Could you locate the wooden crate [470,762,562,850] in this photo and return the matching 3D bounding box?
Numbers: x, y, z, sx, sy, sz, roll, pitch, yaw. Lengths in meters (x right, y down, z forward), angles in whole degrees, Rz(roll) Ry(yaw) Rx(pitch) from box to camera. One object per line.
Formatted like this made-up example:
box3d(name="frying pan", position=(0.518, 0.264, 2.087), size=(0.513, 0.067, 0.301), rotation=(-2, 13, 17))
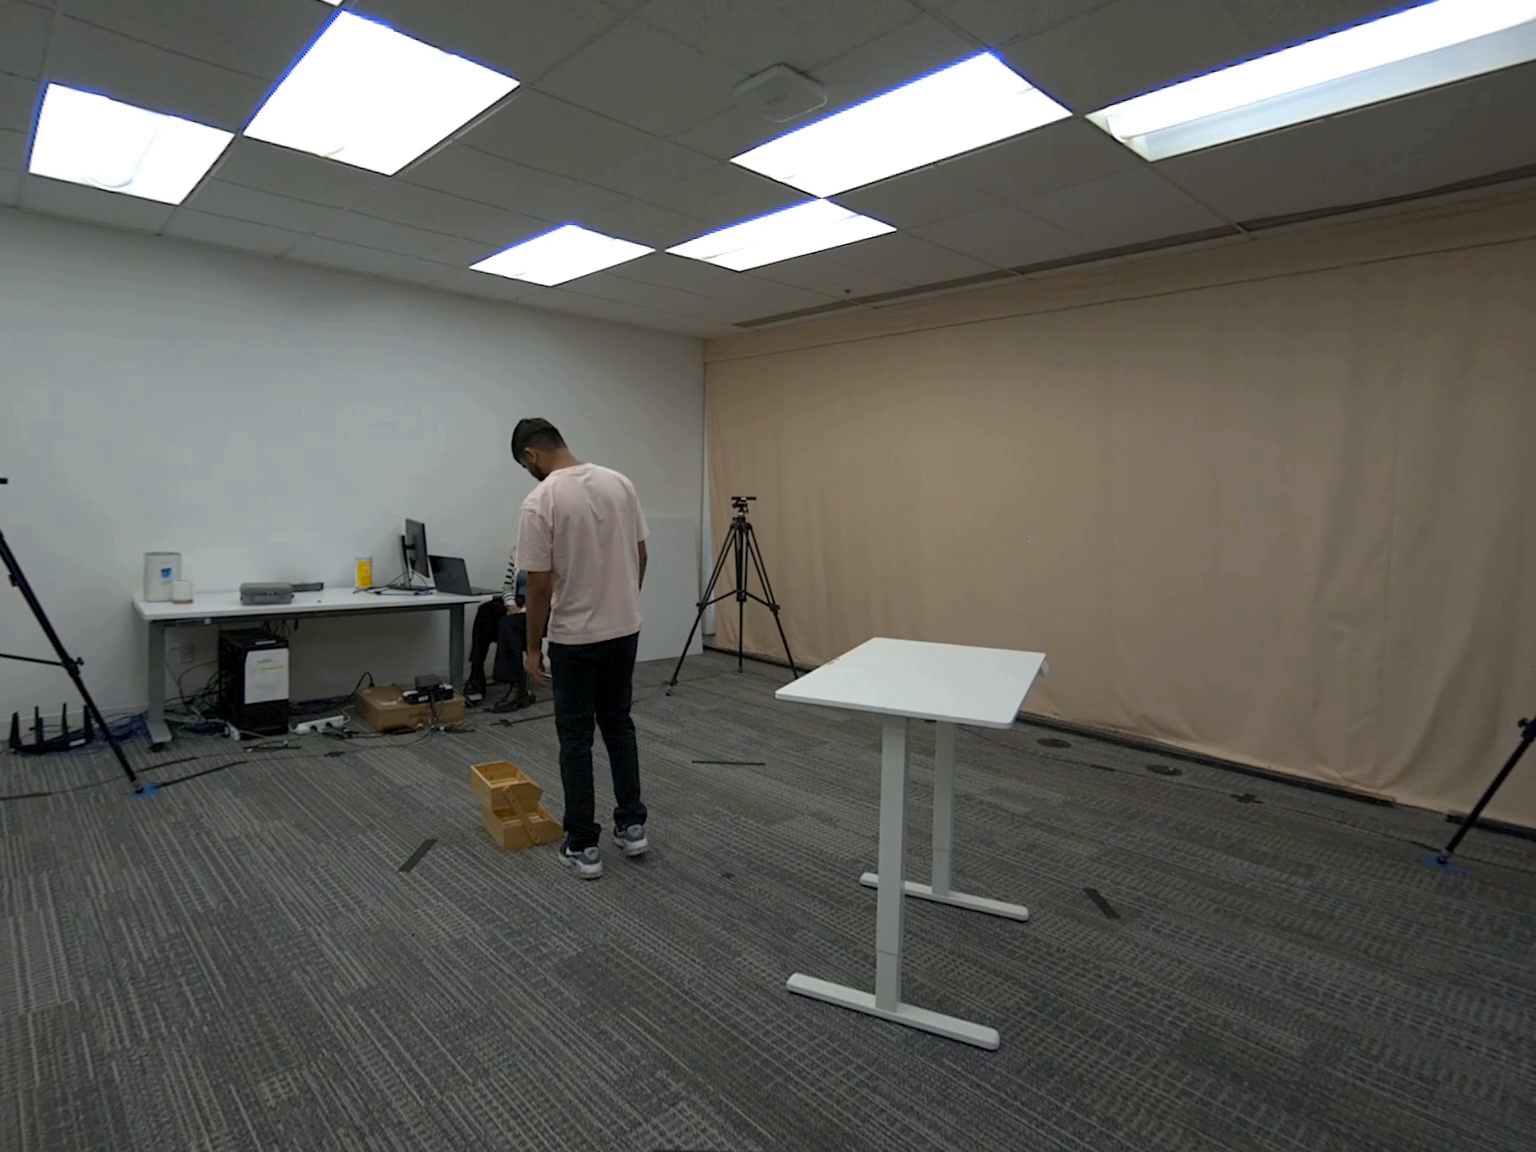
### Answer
box3d(name="wooden crate", position=(-1.036, 0.921, 3.444), size=(0.295, 0.272, 0.332), rotation=(-2, 6, -34))
